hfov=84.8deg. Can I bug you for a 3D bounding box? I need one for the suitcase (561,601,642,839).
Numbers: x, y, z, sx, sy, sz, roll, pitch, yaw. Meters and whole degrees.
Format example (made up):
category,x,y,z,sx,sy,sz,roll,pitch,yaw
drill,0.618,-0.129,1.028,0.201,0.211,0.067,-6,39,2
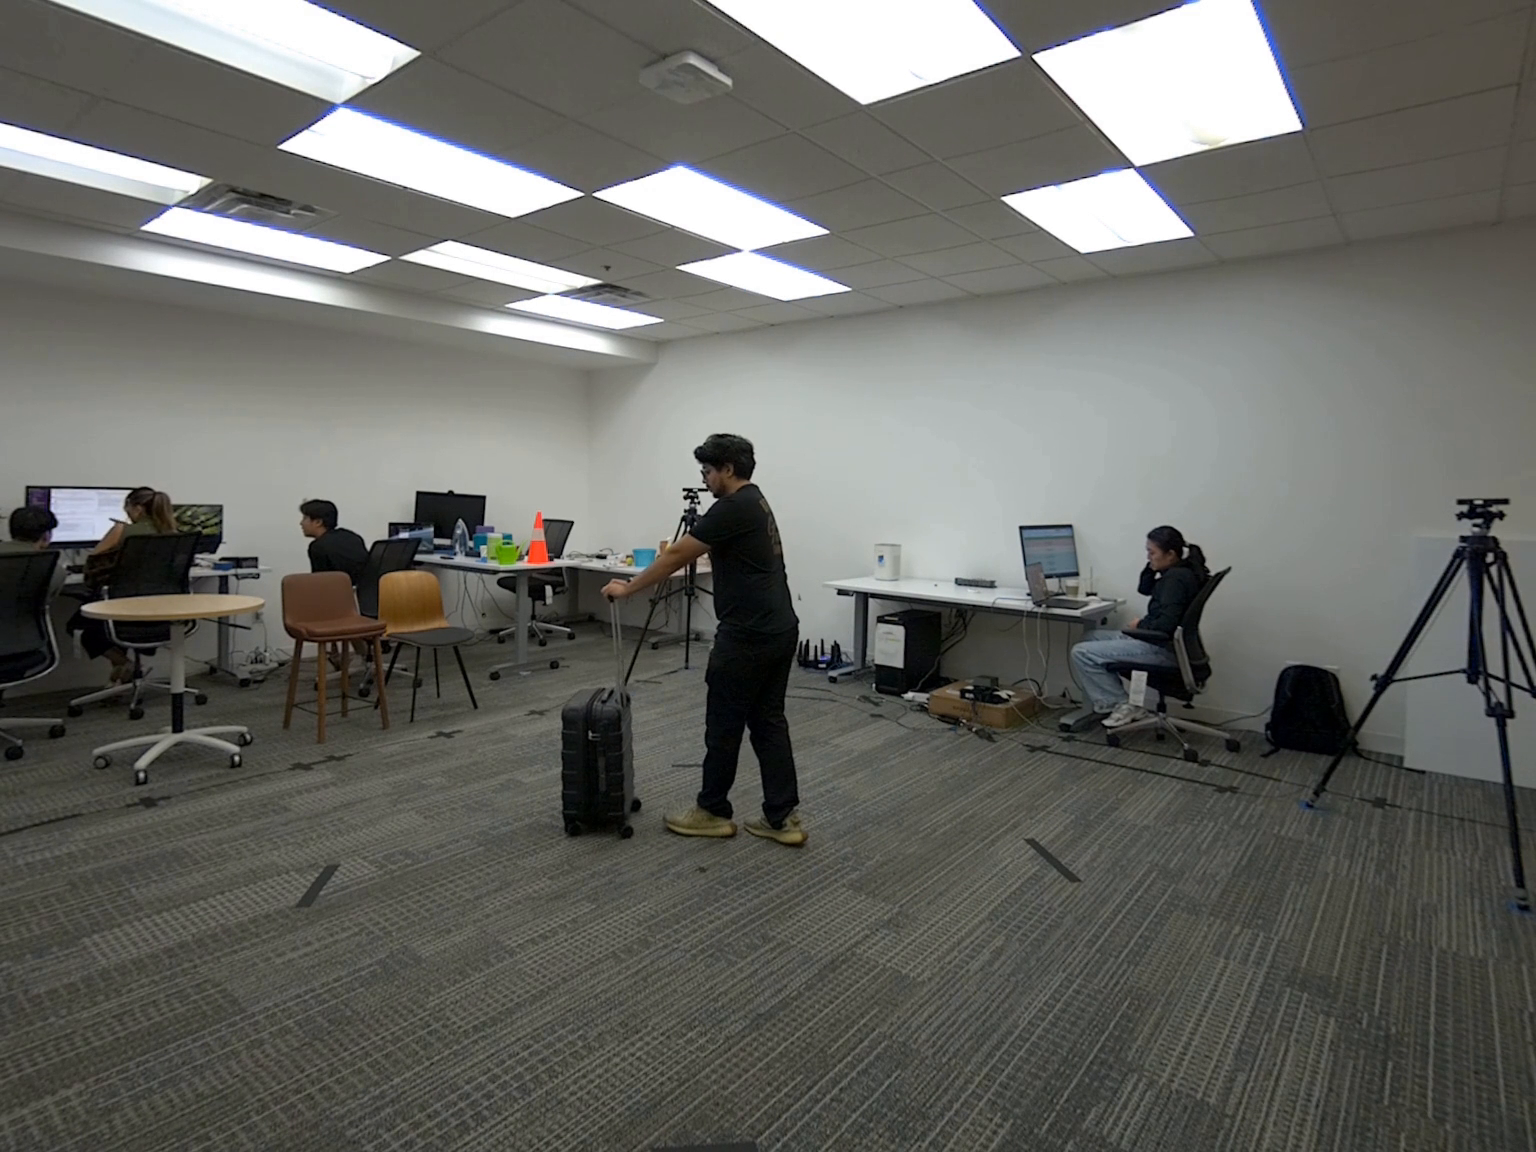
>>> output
category,x,y,z,sx,sy,sz,roll,pitch,yaw
suitcase,-0.725,0.554,3.511,0.257,0.976,0.384,-4,2,0
